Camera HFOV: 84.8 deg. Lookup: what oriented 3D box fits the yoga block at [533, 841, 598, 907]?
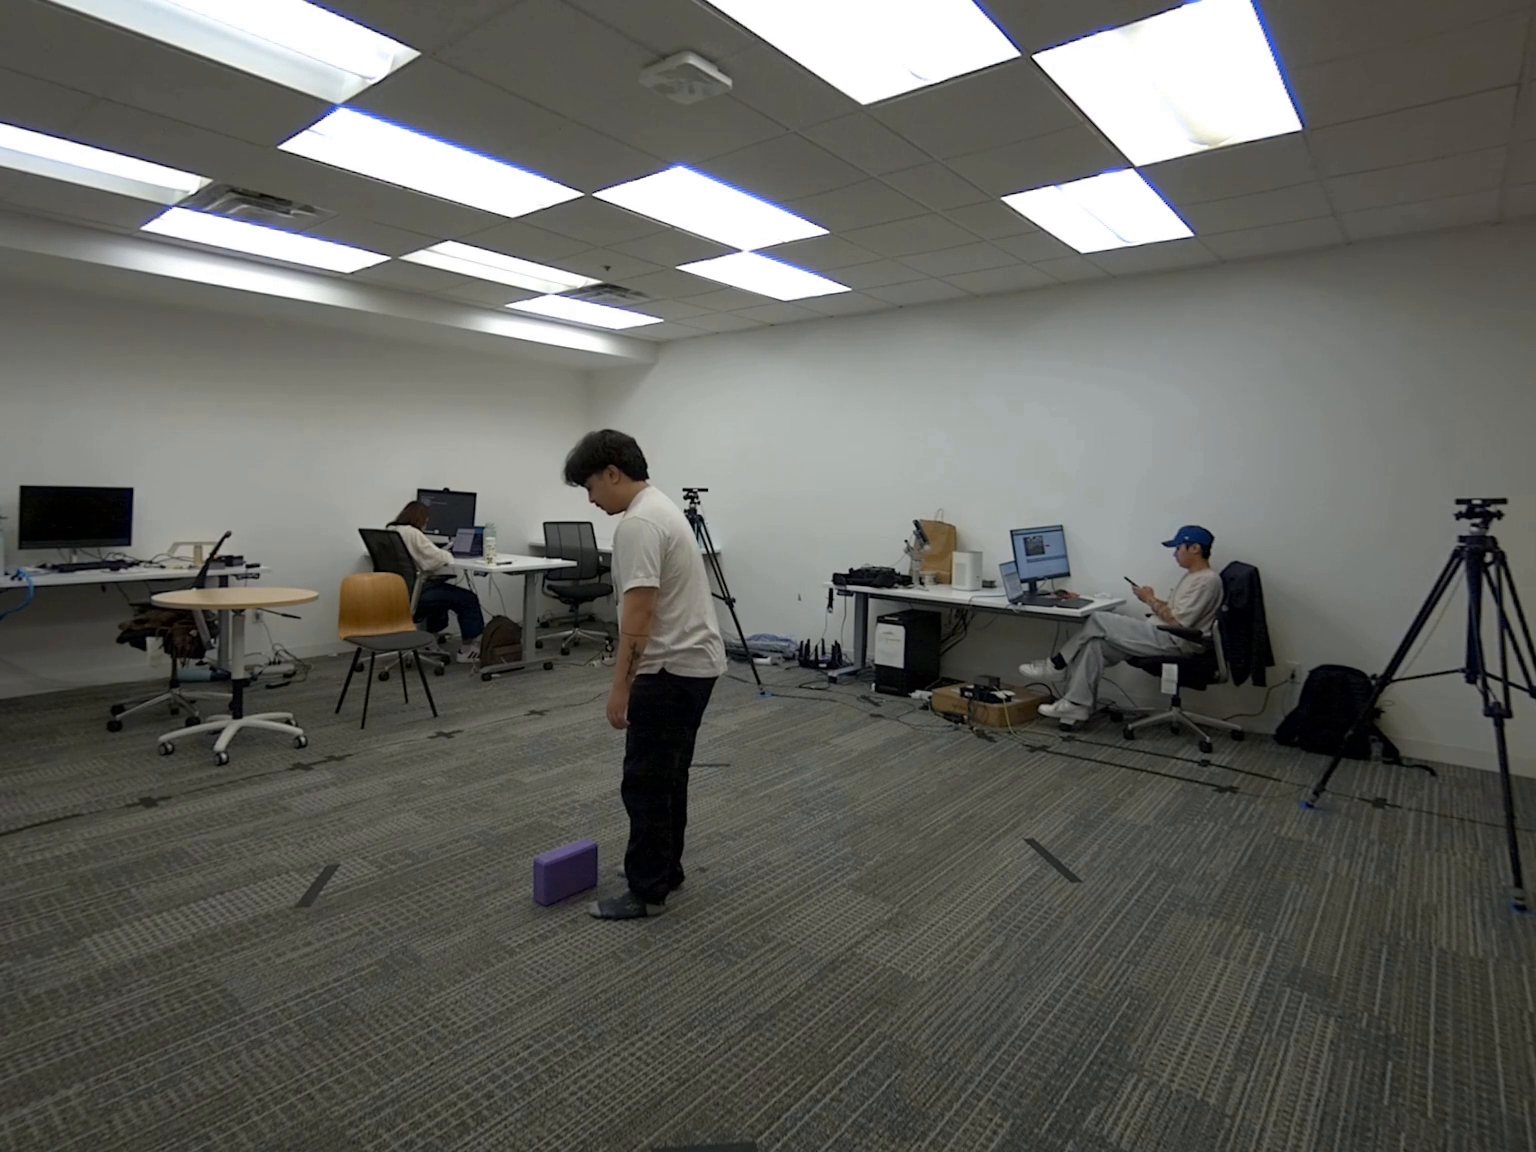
[{"bbox_3d":[-0.701,1.006,2.911,0.079,0.148,0.222,3,5,42],"label":"yoga block"}]
